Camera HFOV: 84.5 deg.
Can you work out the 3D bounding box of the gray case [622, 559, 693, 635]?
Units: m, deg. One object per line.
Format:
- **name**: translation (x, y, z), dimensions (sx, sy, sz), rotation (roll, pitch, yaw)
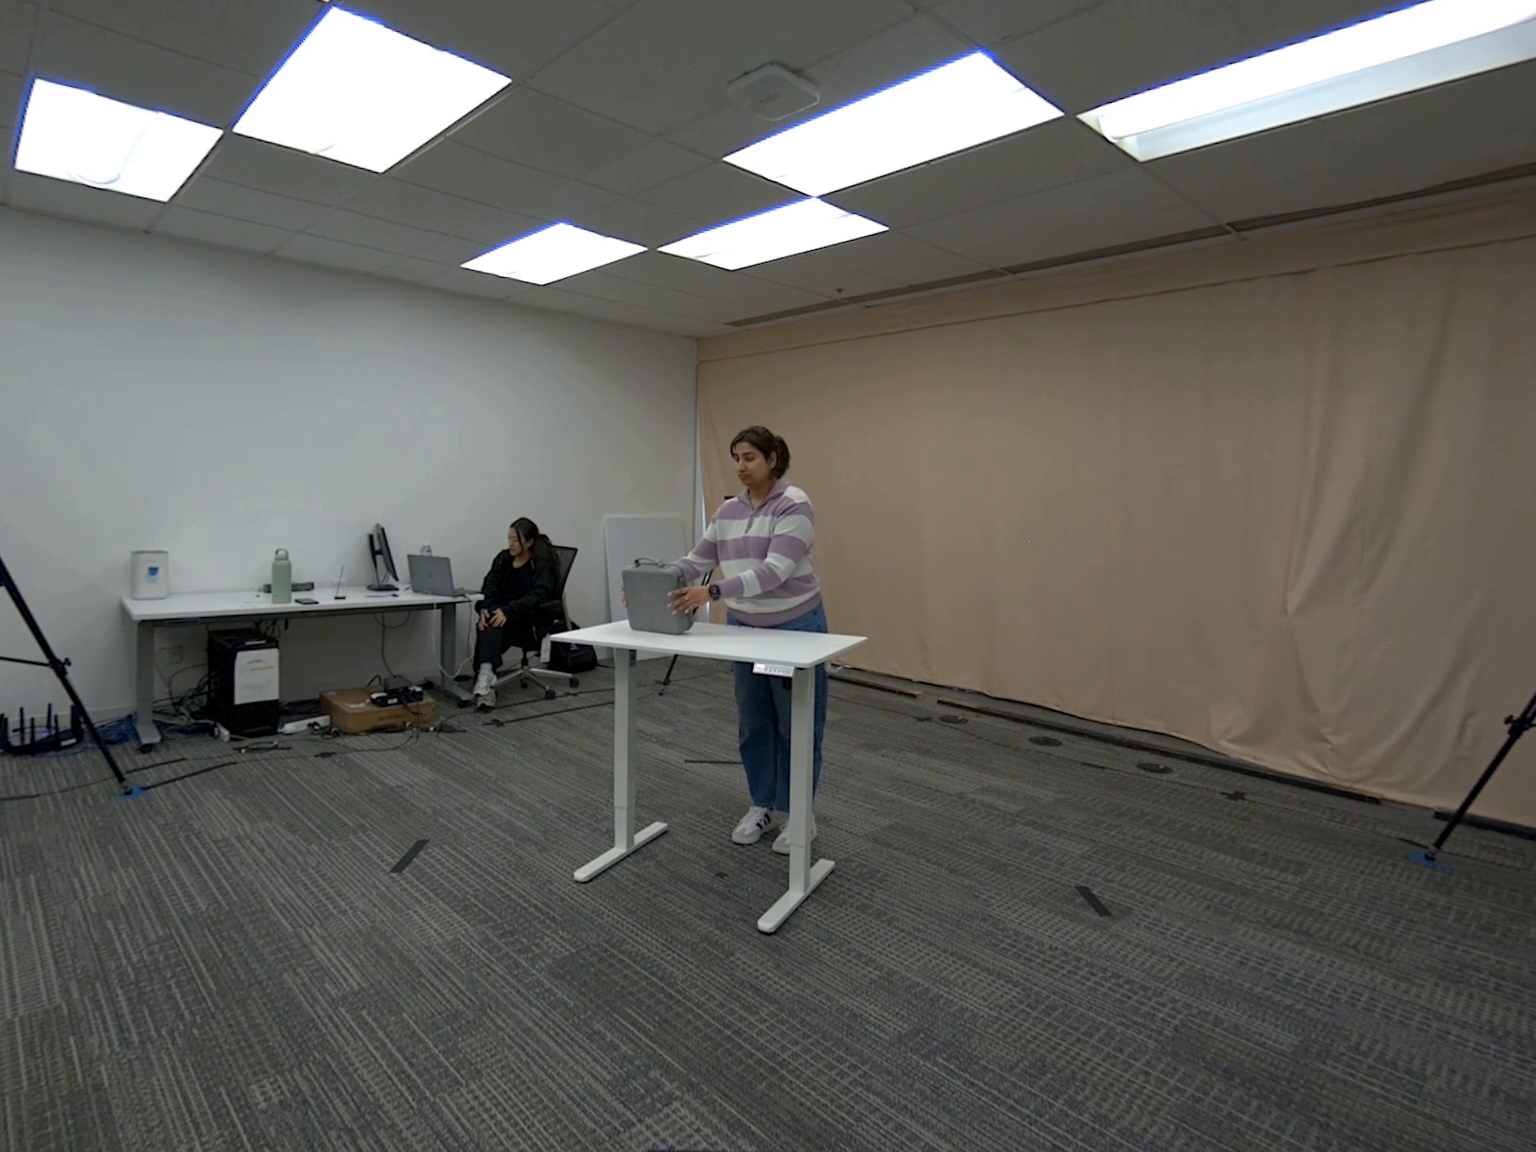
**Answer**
- **gray case**: translation (-0.417, 0.078, 3.146), dimensions (0.263, 0.258, 0.103), rotation (1, 14, 34)
